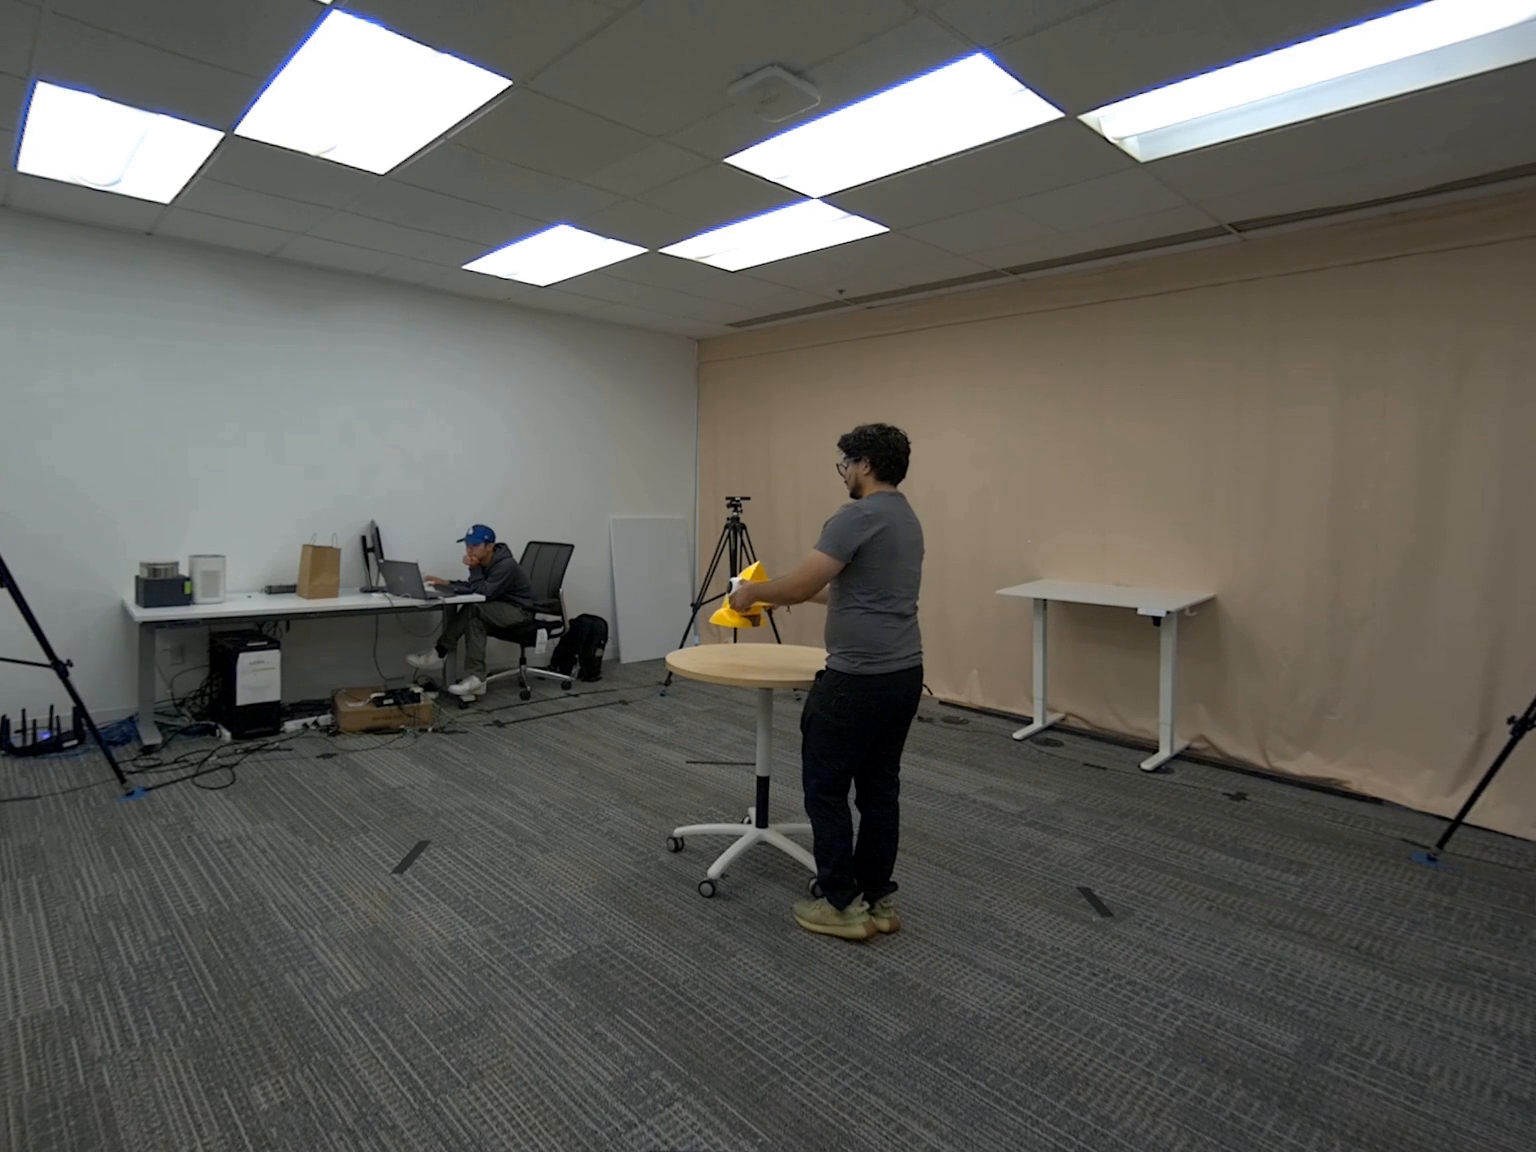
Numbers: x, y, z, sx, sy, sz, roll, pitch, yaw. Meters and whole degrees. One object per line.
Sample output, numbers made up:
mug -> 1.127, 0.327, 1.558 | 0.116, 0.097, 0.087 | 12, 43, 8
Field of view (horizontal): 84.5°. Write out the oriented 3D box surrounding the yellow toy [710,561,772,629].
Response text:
yellow toy -> -0.101, 0.060, 2.987 | 0.198, 0.230, 0.200 | 7, 5, 41
